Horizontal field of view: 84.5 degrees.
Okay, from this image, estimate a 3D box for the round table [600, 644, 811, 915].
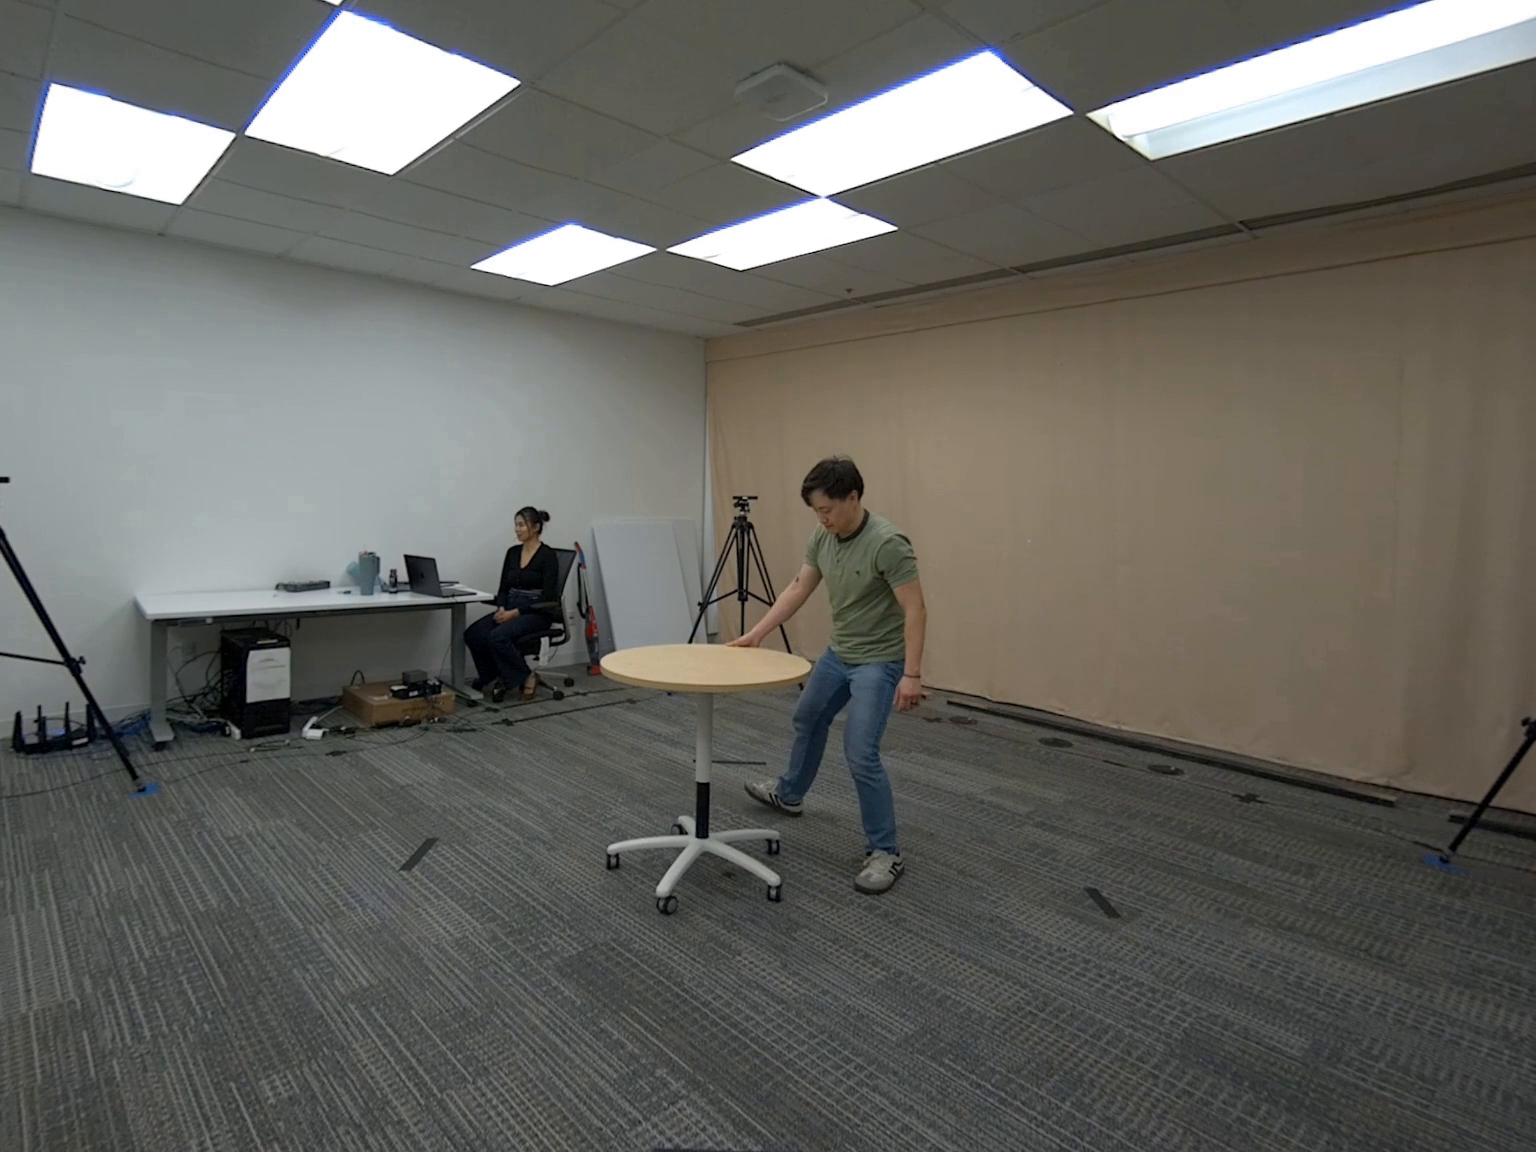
[{"bbox_3d":[-0.242,0.709,3.083,0.763,0.792,0.766,1,4,-1],"label":"round table"}]
